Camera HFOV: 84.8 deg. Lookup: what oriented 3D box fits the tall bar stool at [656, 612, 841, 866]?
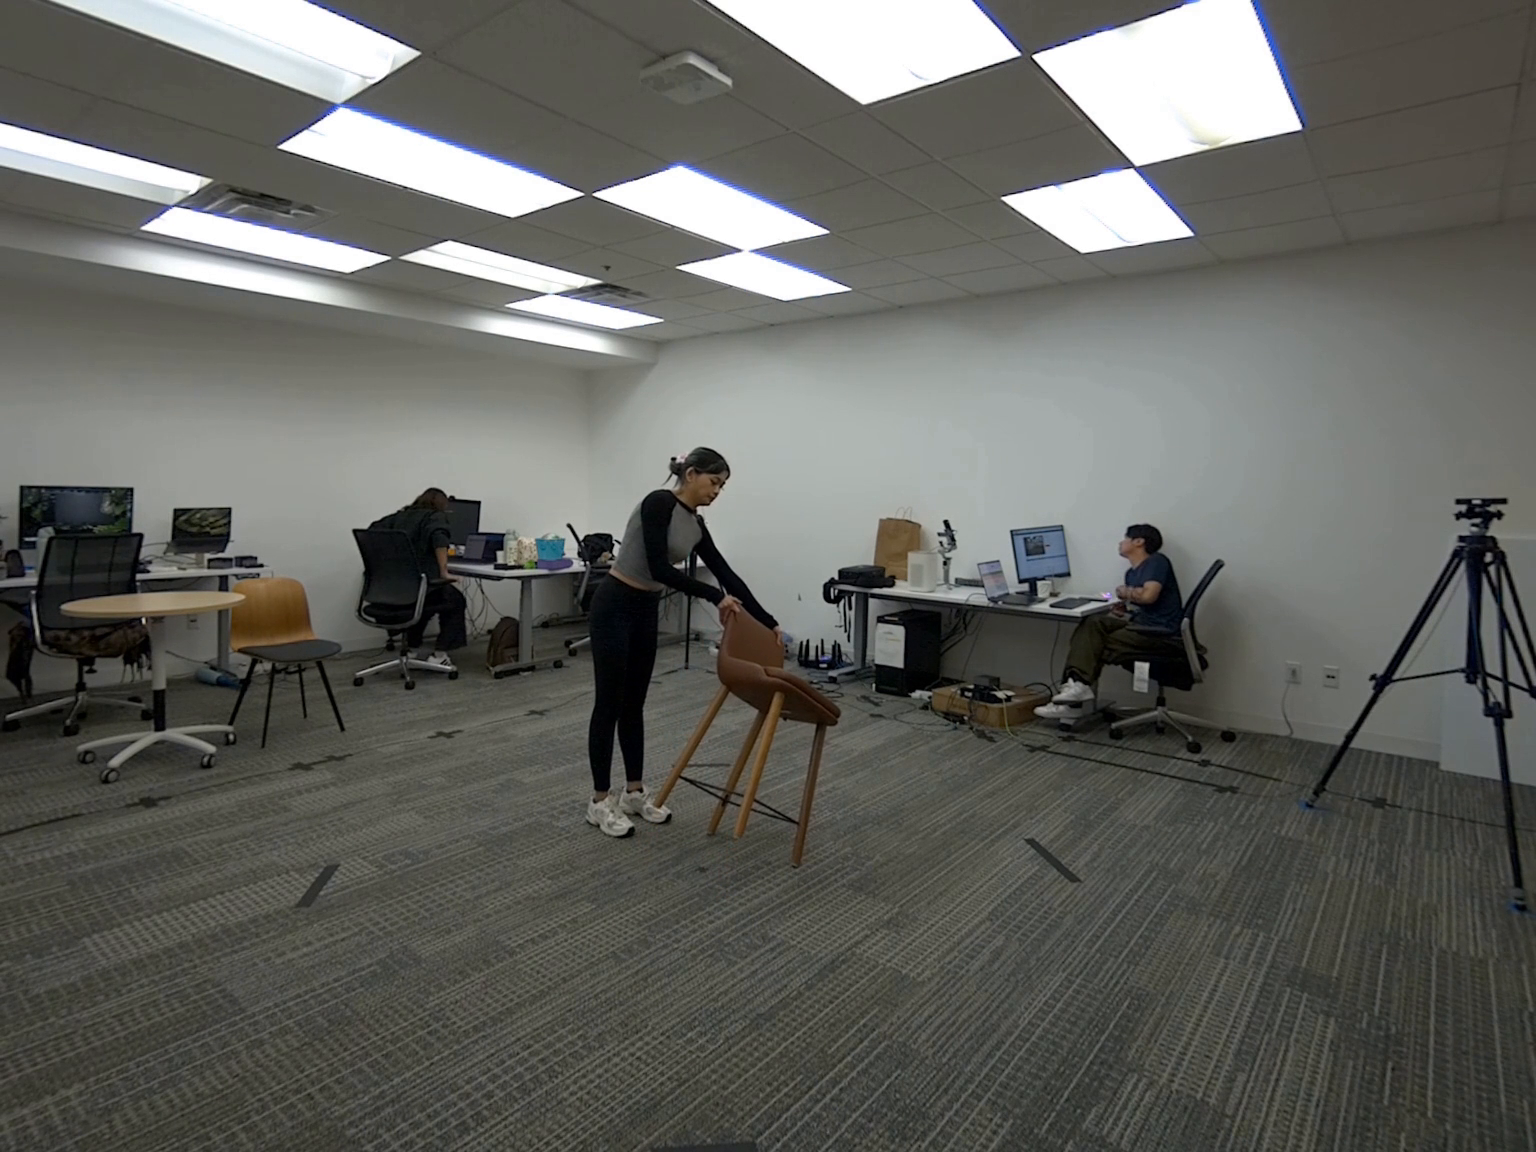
[{"bbox_3d":[-0.034,0.581,3.330,0.482,0.900,0.437,0,-28,40],"label":"tall bar stool"}]
